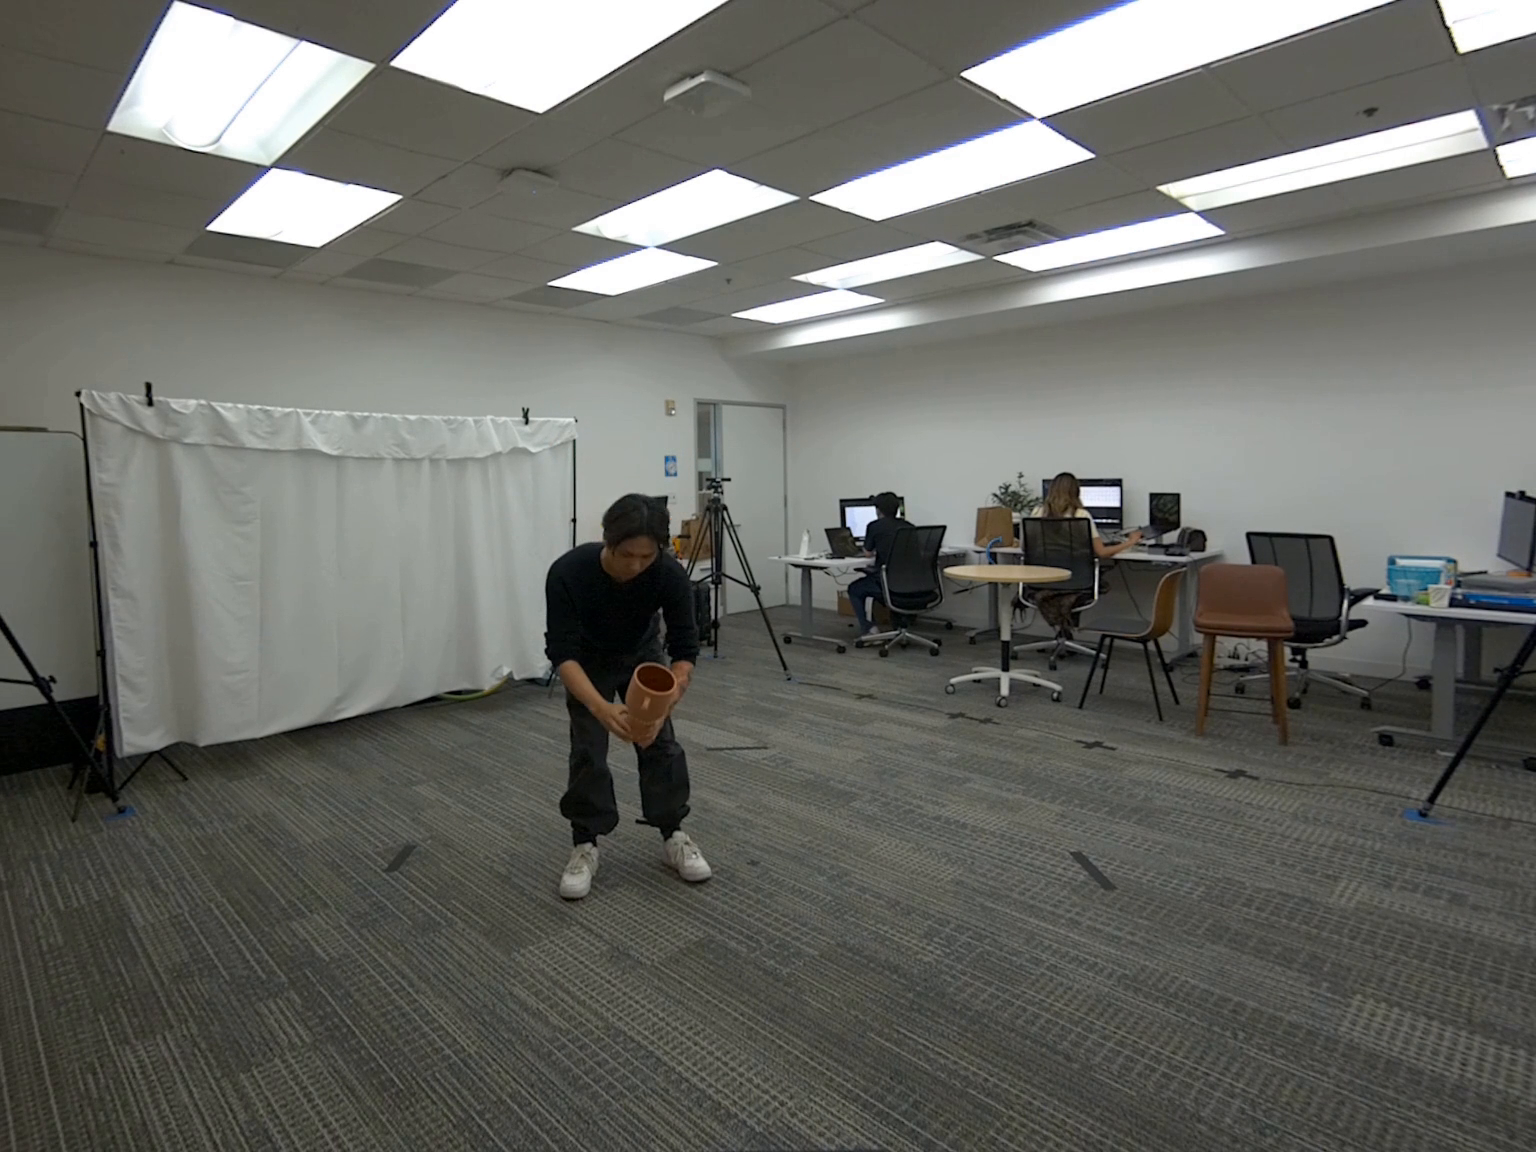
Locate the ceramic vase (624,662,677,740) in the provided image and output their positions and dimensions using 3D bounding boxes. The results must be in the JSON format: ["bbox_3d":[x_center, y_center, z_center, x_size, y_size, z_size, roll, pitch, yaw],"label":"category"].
[{"bbox_3d":[-0.368,0.381,2.582,0.155,0.217,0.139,-12,44,-46],"label":"ceramic vase"}]
